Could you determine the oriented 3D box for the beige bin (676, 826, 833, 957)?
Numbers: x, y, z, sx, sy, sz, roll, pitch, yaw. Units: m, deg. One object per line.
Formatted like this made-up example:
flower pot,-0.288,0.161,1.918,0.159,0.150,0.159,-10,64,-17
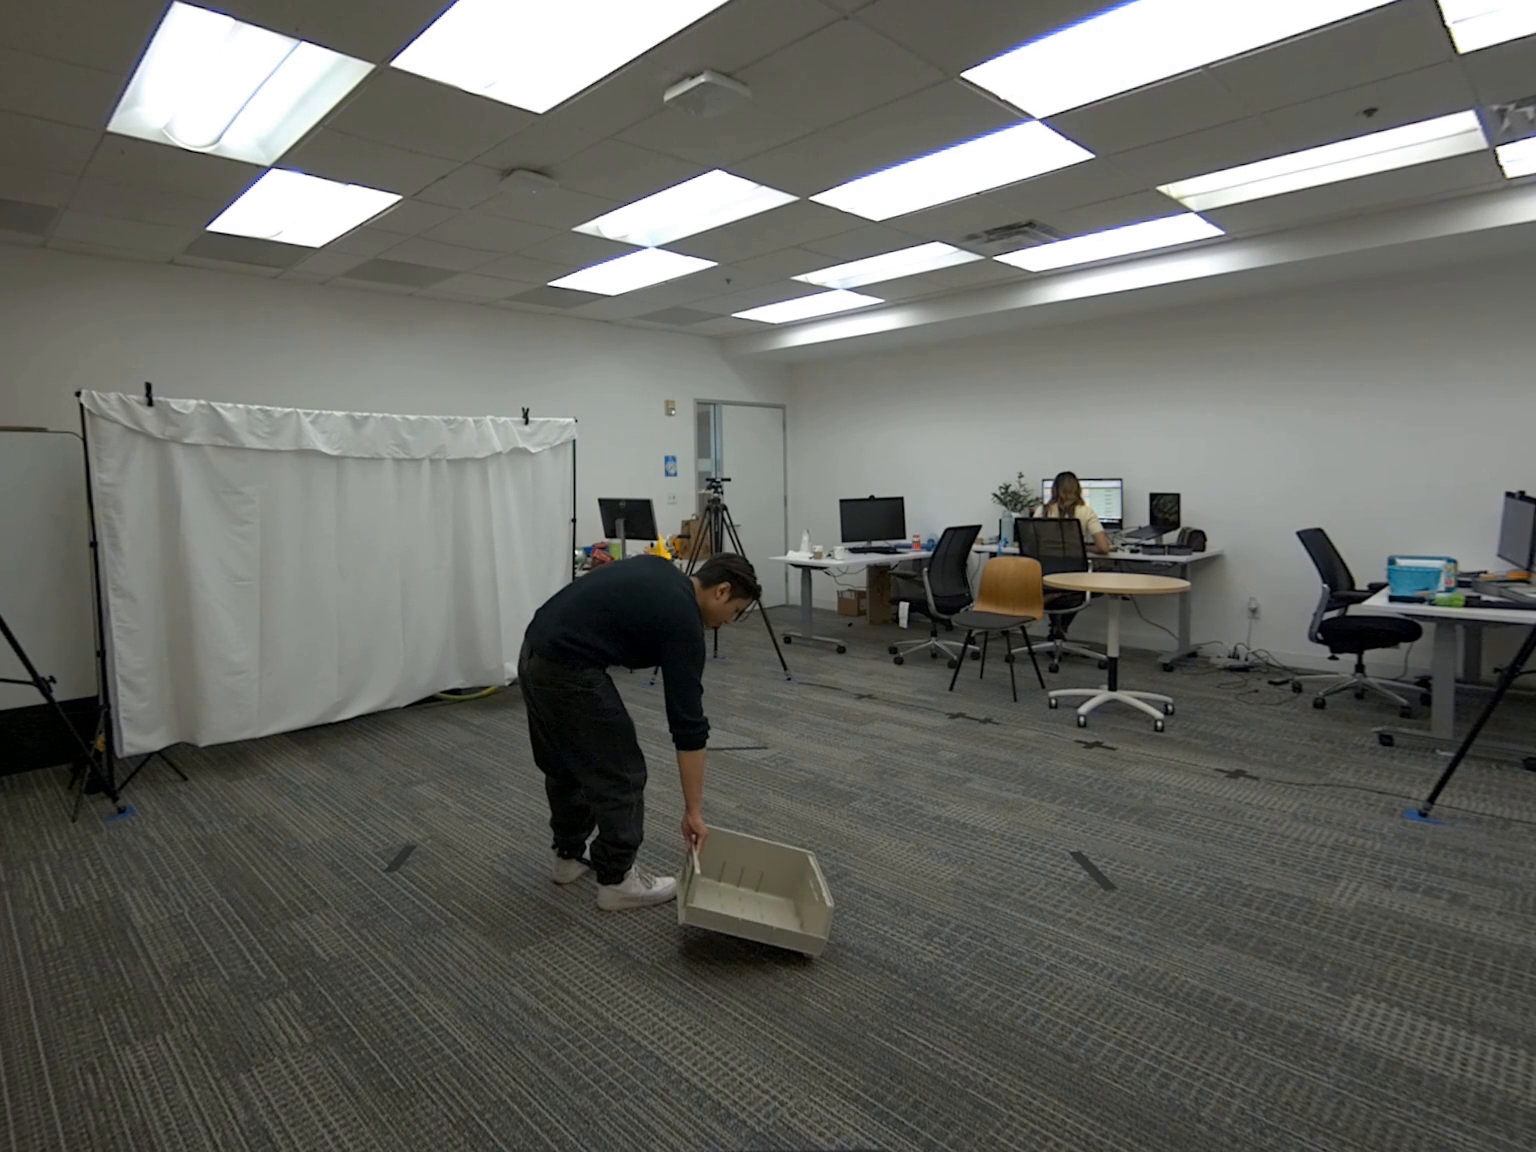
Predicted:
beige bin,-0.047,0.958,2.589,0.419,0.188,0.381,14,4,-7
